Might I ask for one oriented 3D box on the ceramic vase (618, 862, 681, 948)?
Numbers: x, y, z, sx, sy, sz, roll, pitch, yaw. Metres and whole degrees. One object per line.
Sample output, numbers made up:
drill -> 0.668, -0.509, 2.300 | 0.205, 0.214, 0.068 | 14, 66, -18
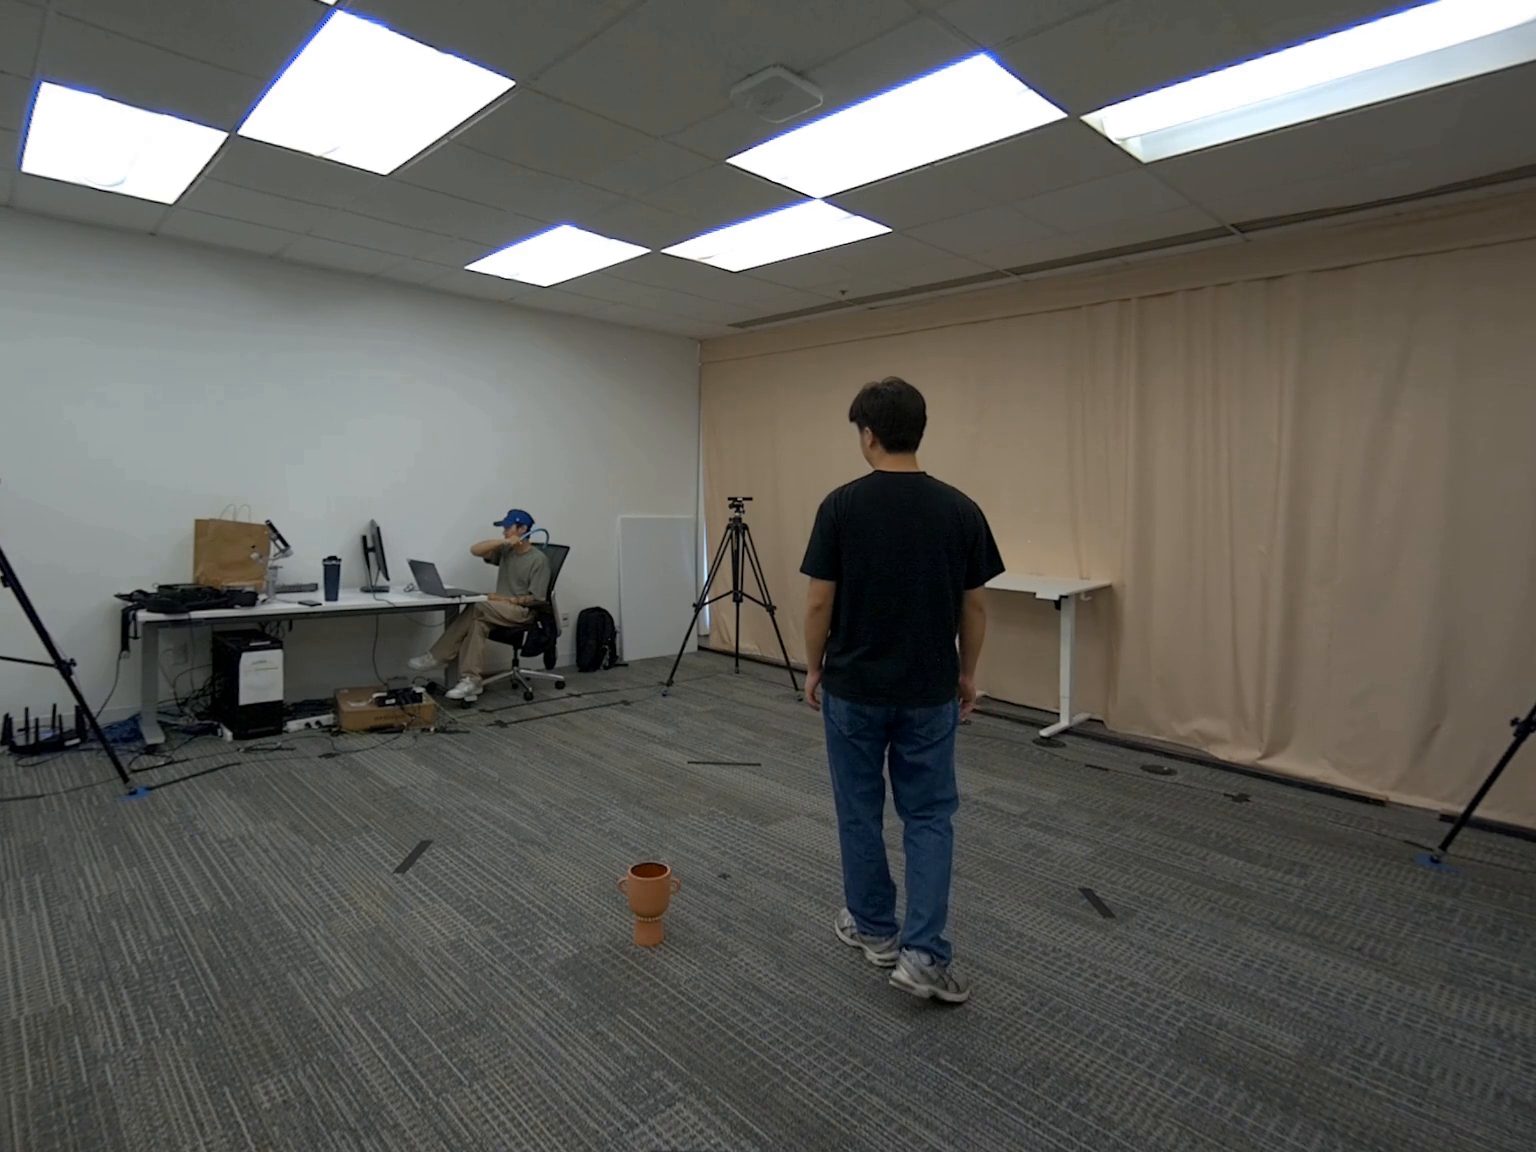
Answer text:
ceramic vase -> -0.382, 1.029, 2.649 | 0.162, 0.219, 0.132 | 3, 4, 36
